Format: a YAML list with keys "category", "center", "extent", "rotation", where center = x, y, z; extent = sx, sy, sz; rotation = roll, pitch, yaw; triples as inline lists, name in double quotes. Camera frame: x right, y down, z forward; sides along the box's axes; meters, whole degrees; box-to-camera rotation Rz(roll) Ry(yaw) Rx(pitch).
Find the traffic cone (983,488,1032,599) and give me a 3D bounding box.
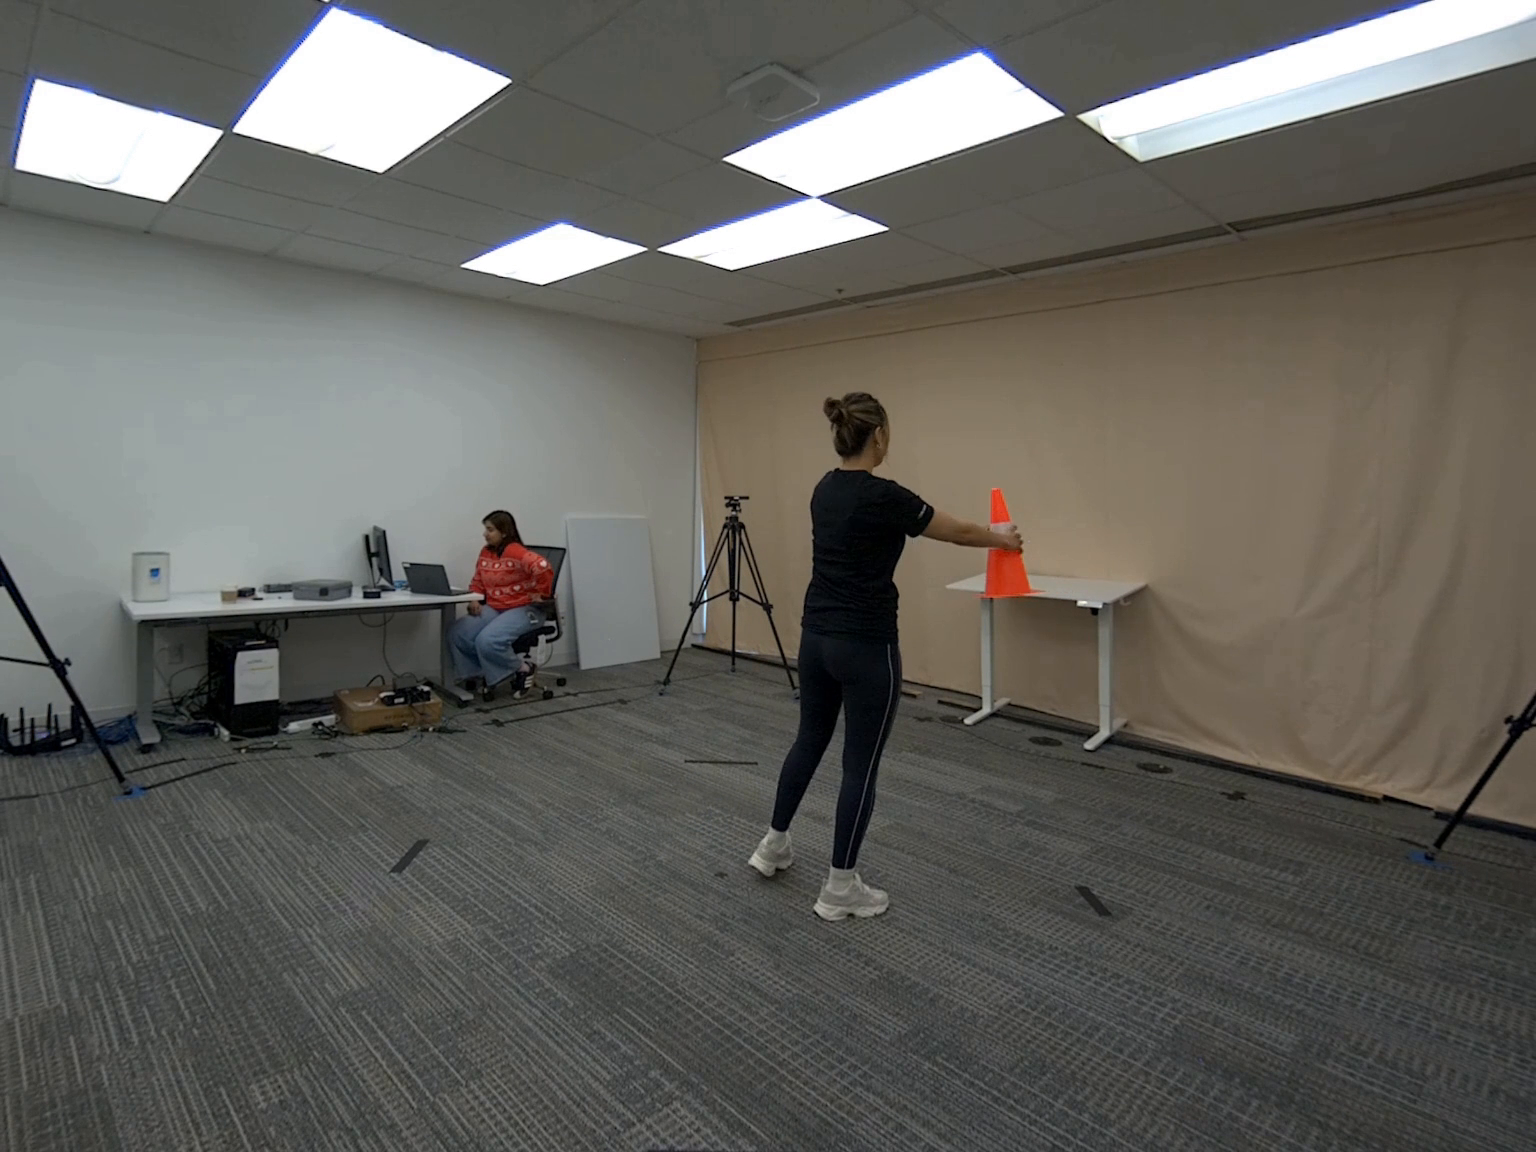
- category: "traffic cone"
  center: [0.828, -0.123, 3.025]
  extent: [0.208, 0.384, 0.200]
  rotation: [-7, 0, 29]
